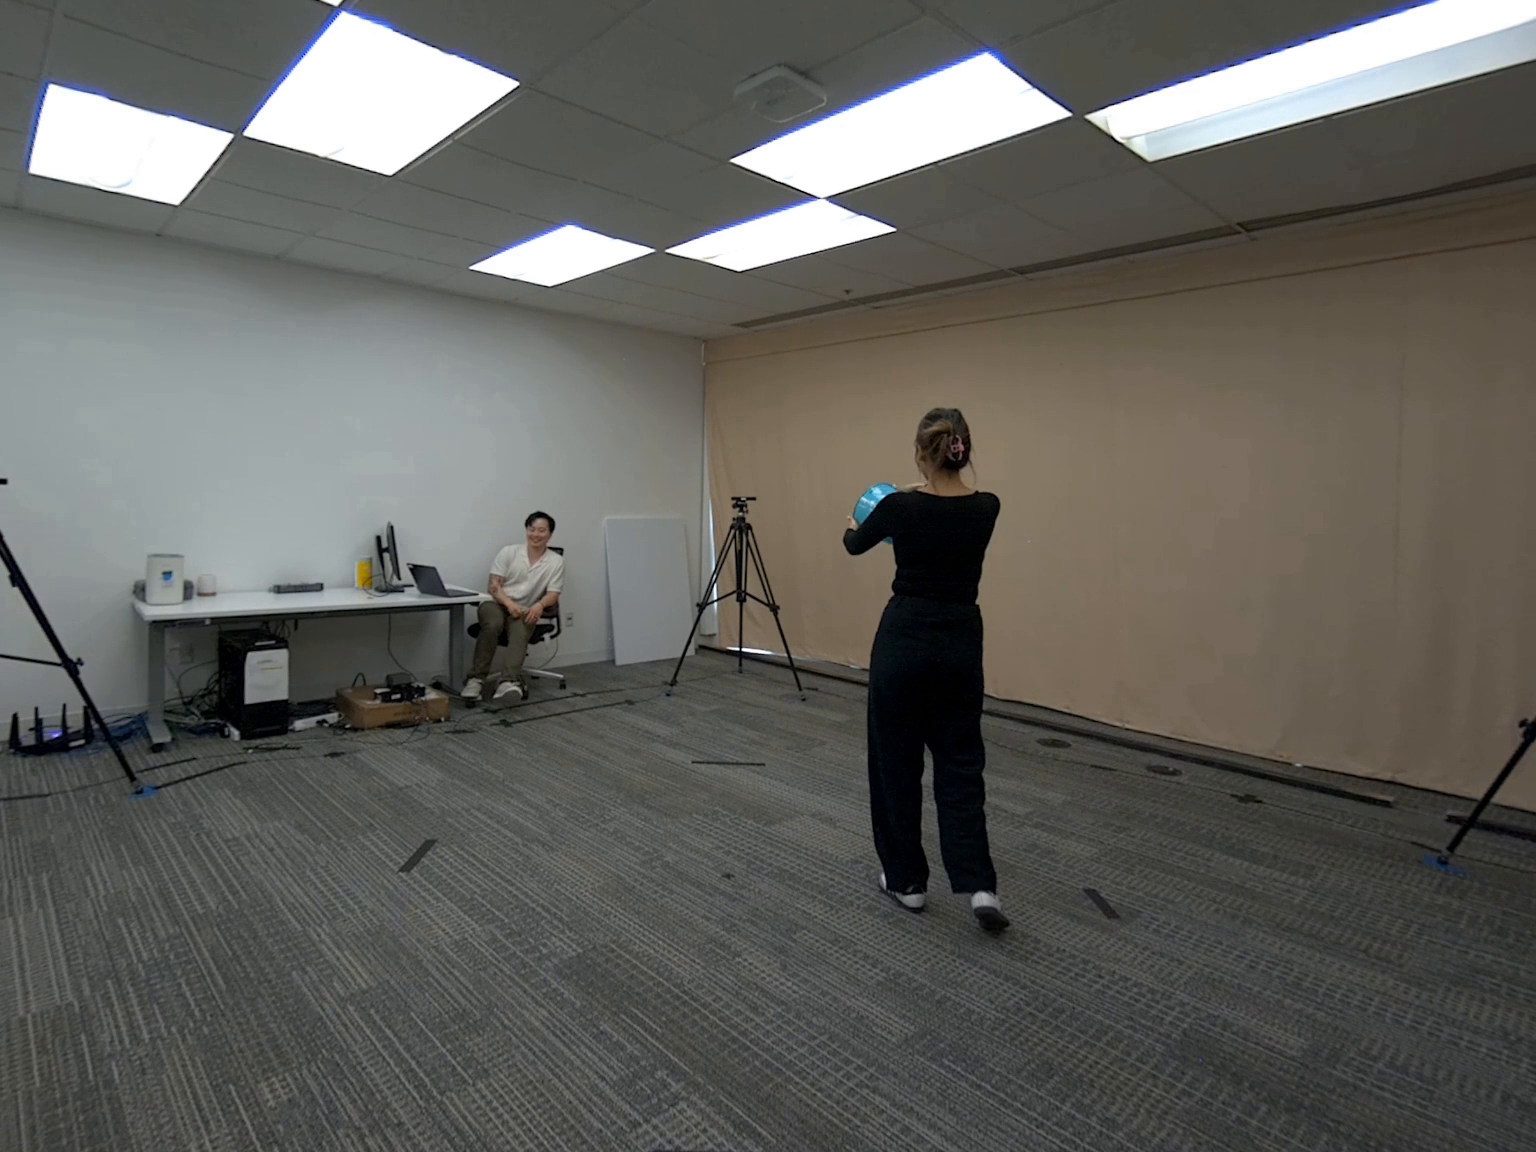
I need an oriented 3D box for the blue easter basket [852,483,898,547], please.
[{"bbox_3d":[0.487,-0.238,3.347,0.238,0.241,0.161,-1,26,-32],"label":"blue easter basket"}]
